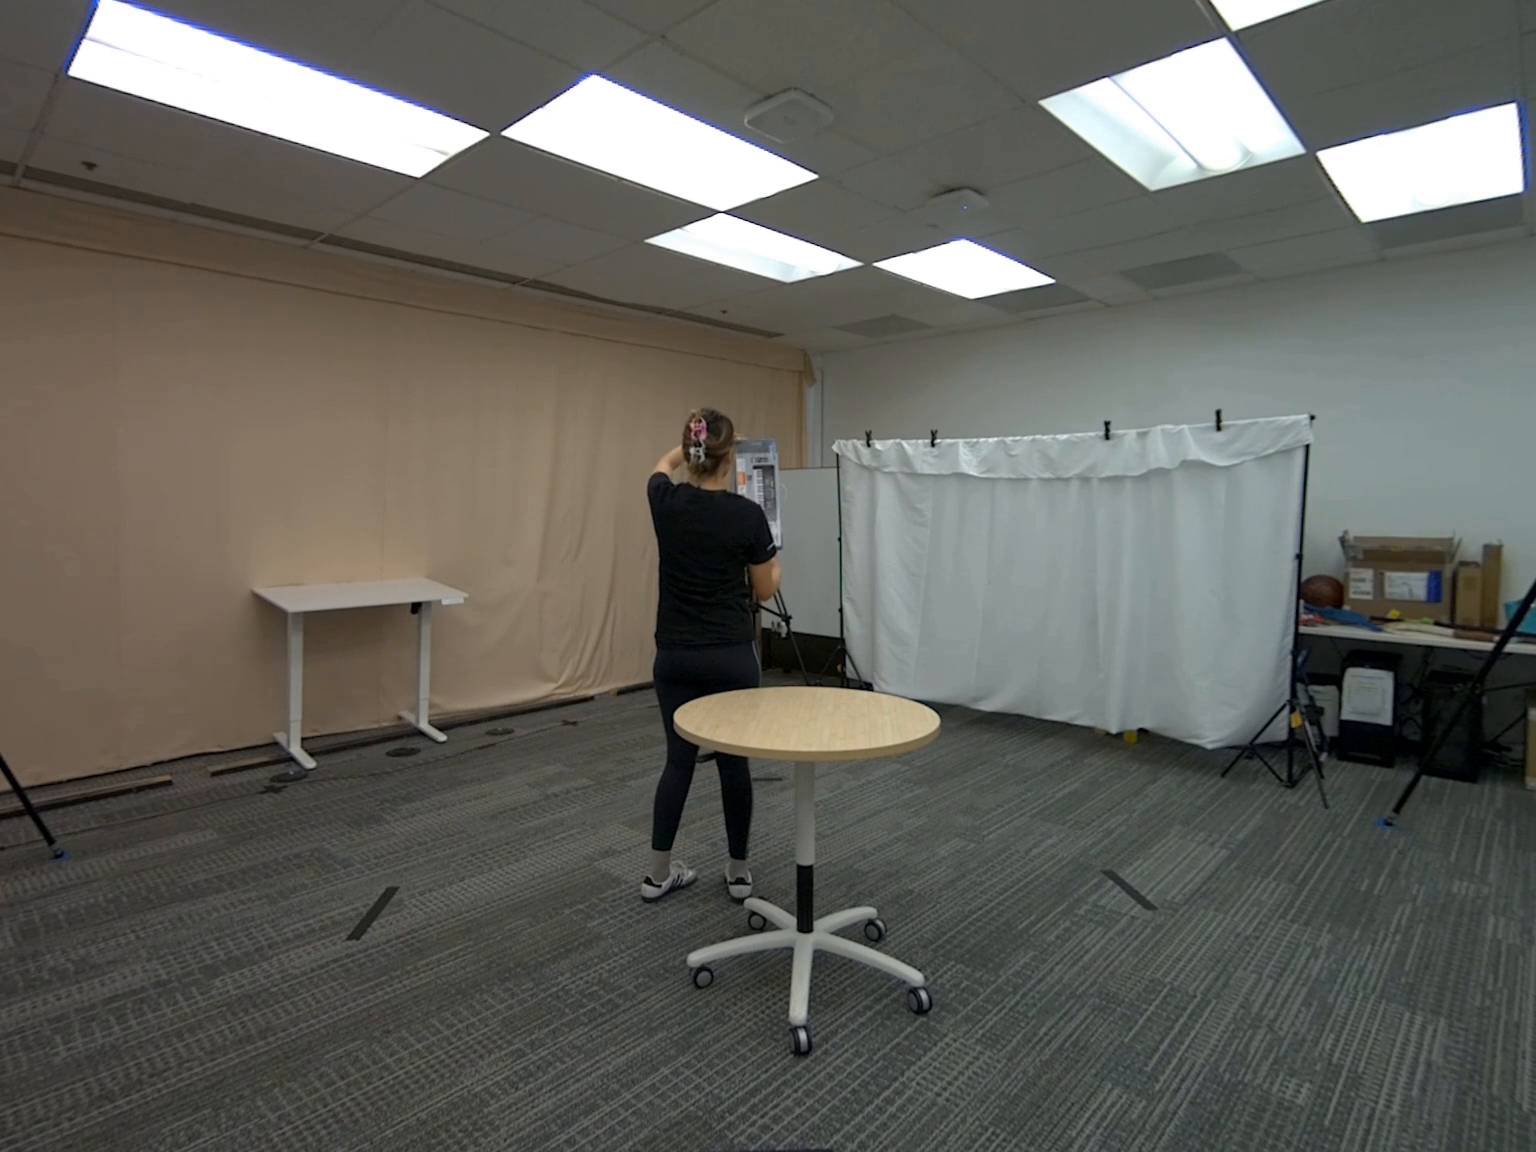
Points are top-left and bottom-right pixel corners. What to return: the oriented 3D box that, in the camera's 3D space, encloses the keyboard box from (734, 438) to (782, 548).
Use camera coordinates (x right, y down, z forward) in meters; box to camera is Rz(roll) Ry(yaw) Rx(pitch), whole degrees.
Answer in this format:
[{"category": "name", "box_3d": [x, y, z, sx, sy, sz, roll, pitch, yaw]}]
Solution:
[{"category": "keyboard box", "box_3d": [-0.039, -0.320, 3.325, 0.175, 0.439, 0.059, -4, -6, -5]}]
